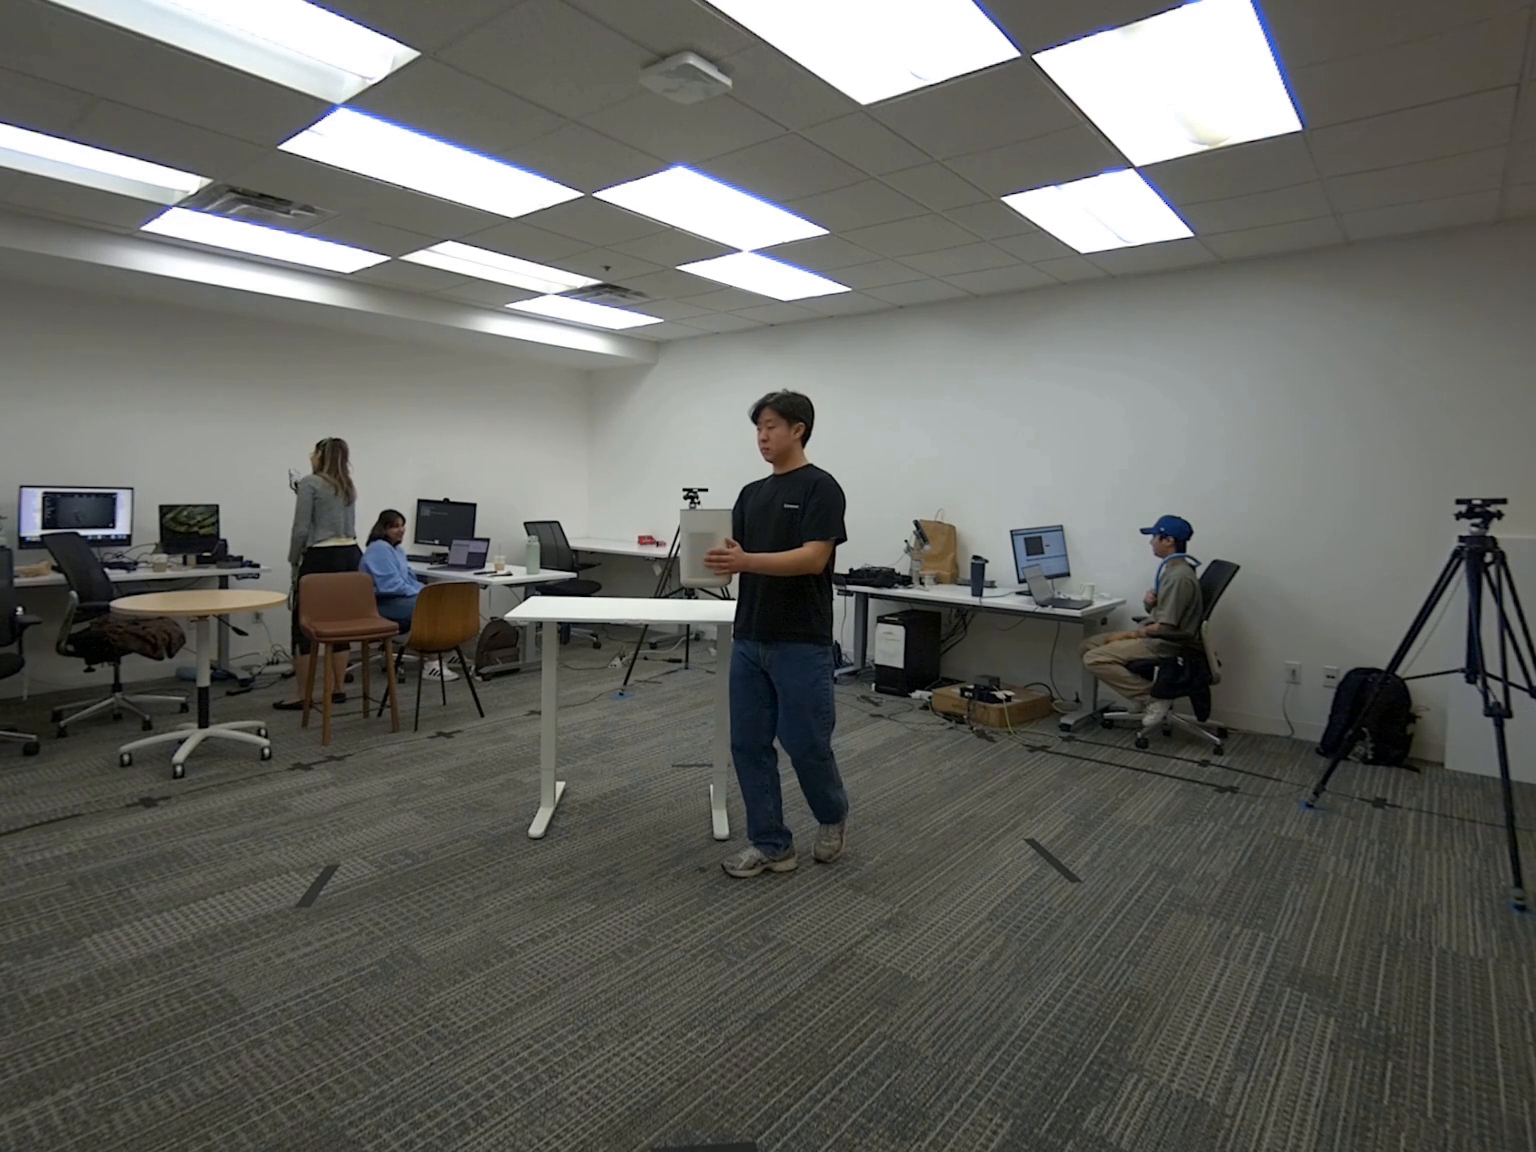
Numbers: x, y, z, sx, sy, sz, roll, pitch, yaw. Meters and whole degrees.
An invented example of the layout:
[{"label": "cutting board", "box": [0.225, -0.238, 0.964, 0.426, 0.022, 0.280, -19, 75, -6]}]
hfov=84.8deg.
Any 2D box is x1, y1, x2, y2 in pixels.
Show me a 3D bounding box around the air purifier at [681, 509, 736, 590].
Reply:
[{"label": "air purifier", "box": [-0.204, -0.096, 2.904, 0.172, 0.265, 0.171, 0, 3, 3]}]
